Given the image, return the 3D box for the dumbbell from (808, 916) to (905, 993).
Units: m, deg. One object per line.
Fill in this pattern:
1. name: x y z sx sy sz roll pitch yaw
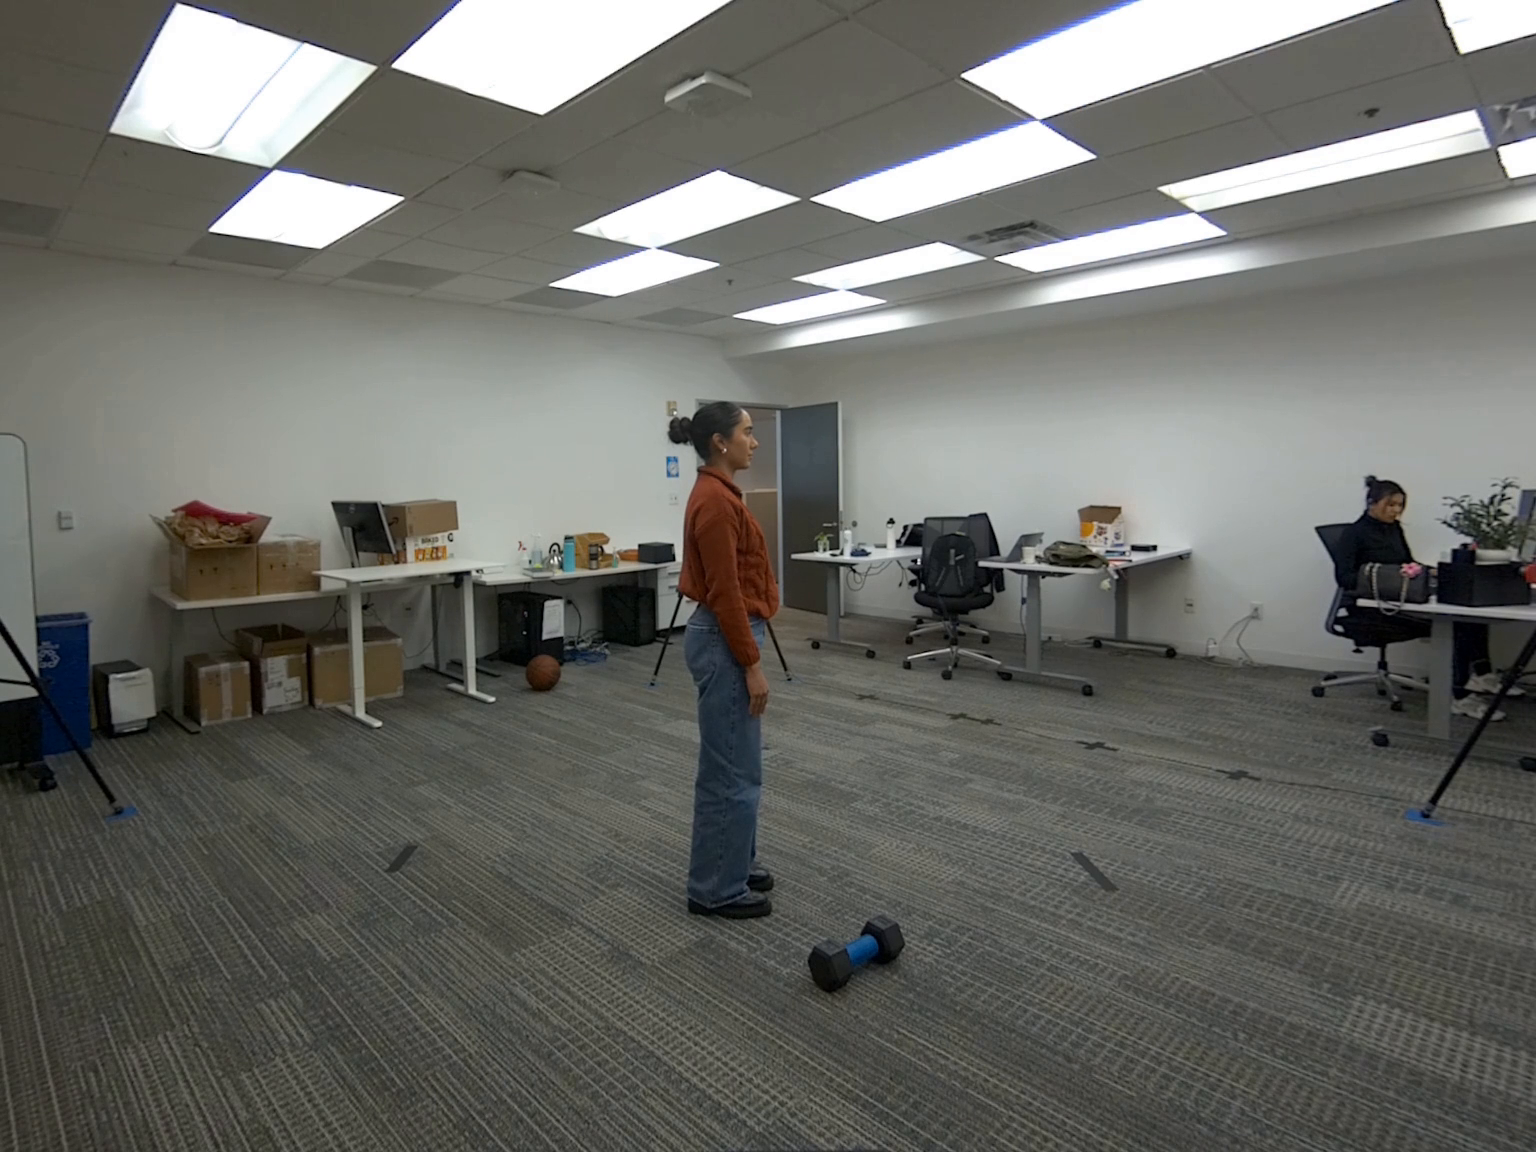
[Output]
1. dumbbell: 0.258 1.065 2.418 0.286 0.126 0.109 -6 -24 -39
